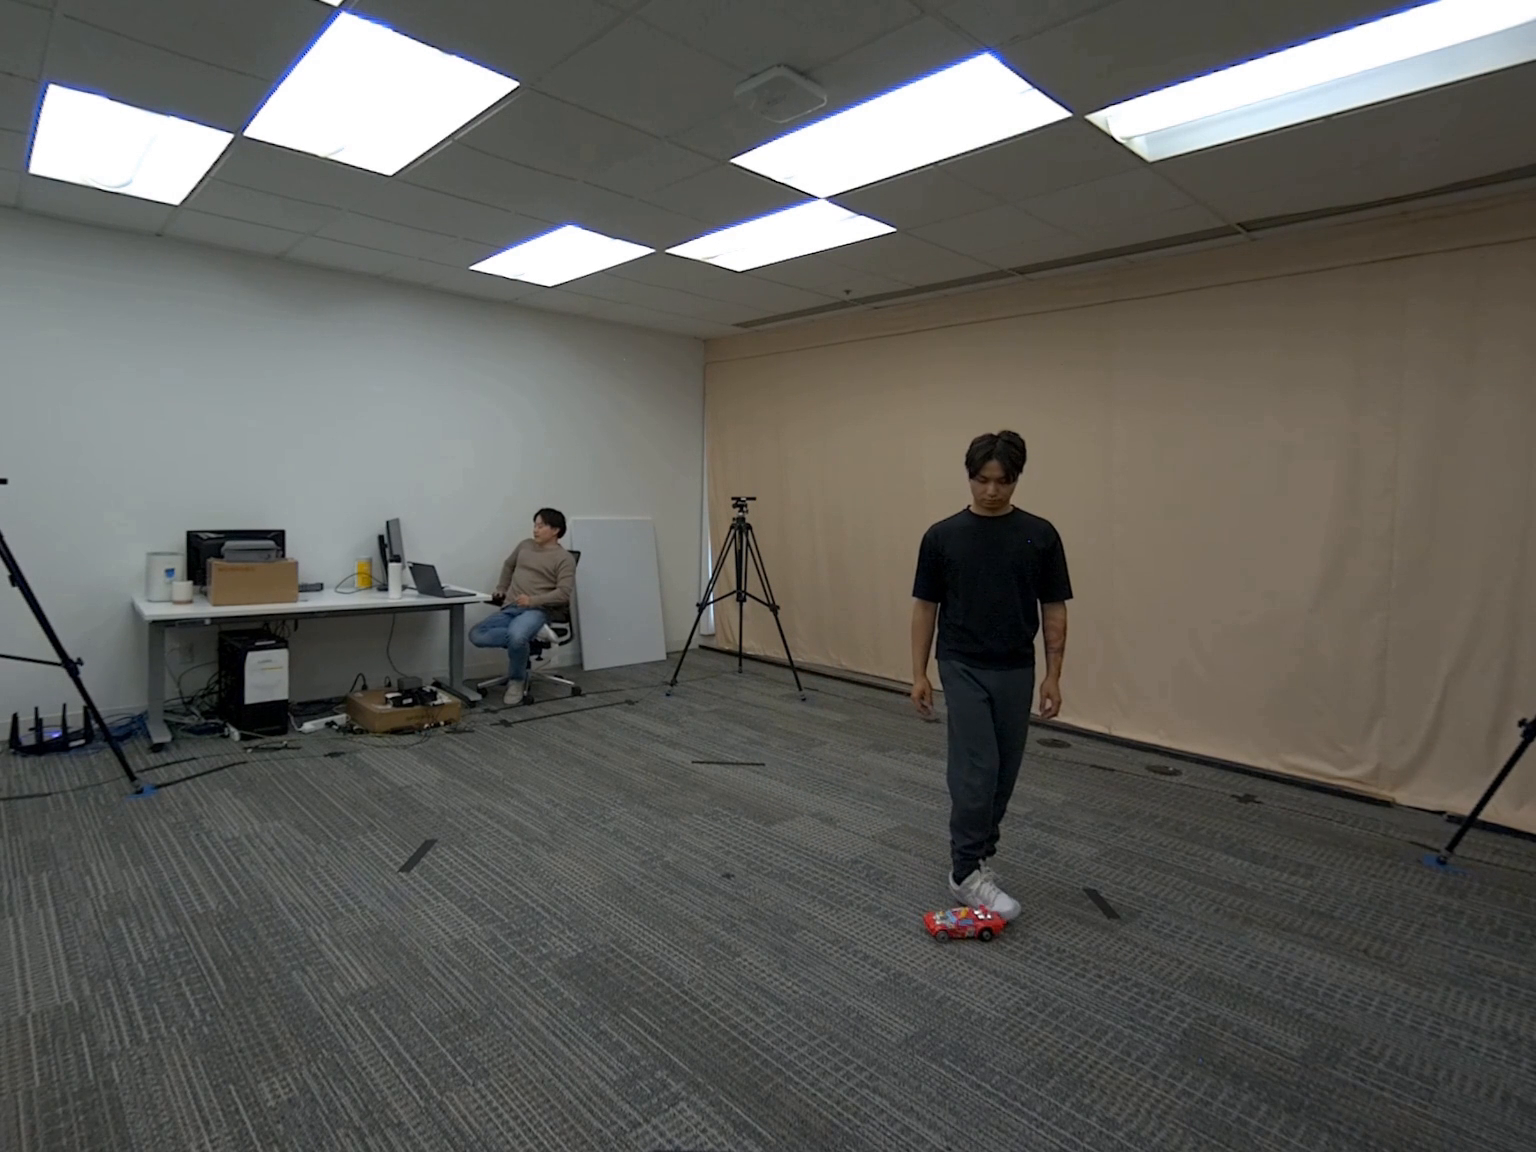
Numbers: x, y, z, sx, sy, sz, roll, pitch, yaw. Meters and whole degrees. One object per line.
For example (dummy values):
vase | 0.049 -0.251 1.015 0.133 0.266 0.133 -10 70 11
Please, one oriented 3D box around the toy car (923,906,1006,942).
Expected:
toy car | 0.629 1.129 2.725 0.254 0.083 0.131 -10 5 -5
